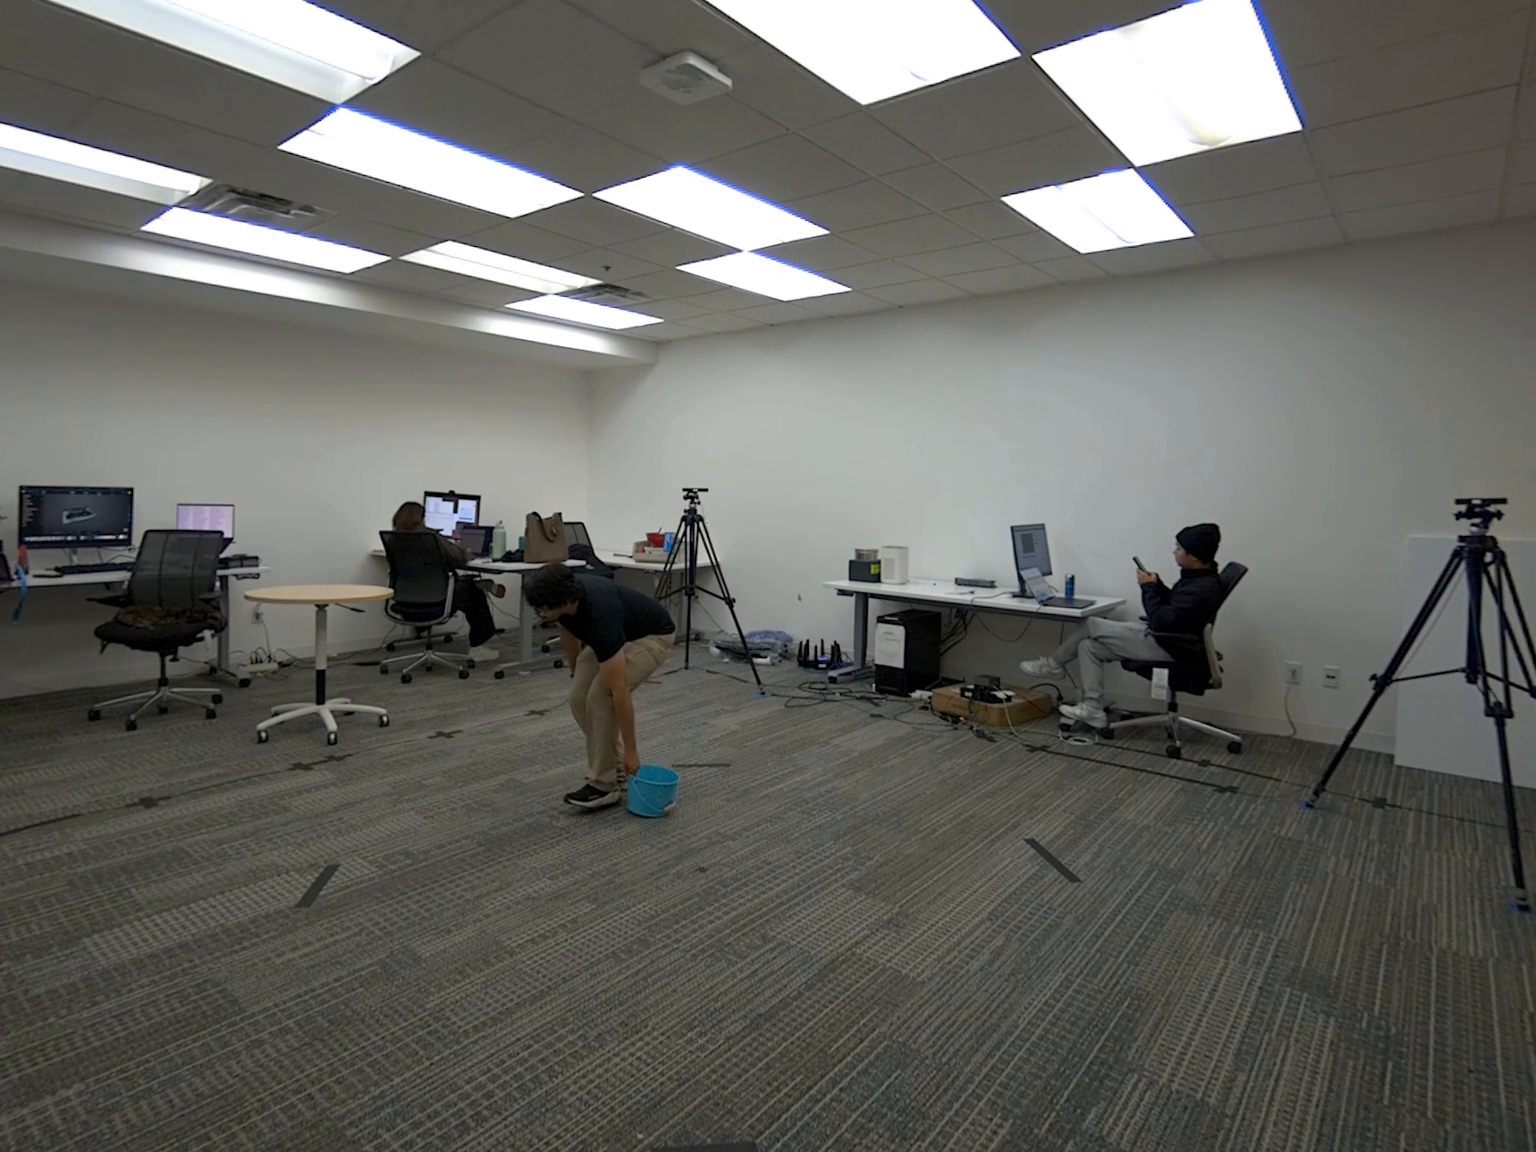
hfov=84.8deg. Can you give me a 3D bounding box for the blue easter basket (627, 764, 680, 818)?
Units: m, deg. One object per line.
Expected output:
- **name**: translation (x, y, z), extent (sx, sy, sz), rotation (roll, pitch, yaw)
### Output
- **blue easter basket**: translation (-0.515, 0.924, 3.660), extent (0.243, 0.155, 0.245), rotation (7, 4, -2)
